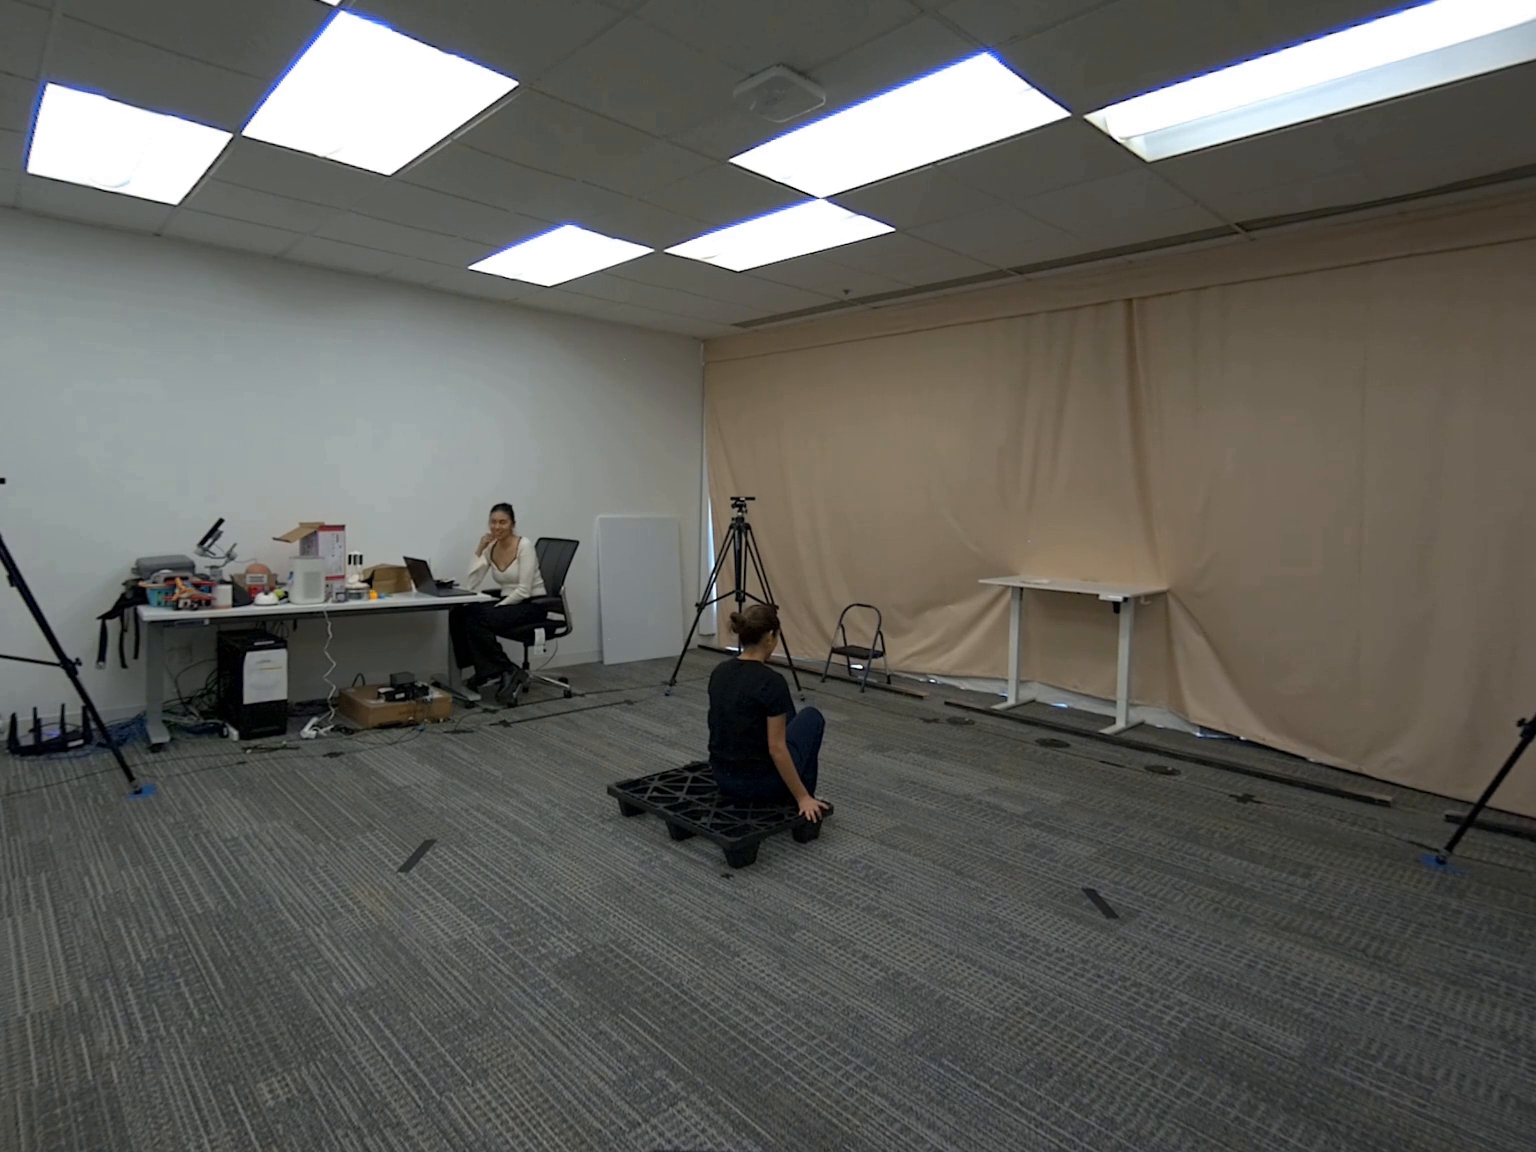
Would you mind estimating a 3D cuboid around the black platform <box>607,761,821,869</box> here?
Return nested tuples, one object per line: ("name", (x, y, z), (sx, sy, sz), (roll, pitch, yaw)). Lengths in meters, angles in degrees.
("black platform", (-0.224, 0.997, 3.555), (0.591, 0.143, 0.826), (-5, 7, -45))
